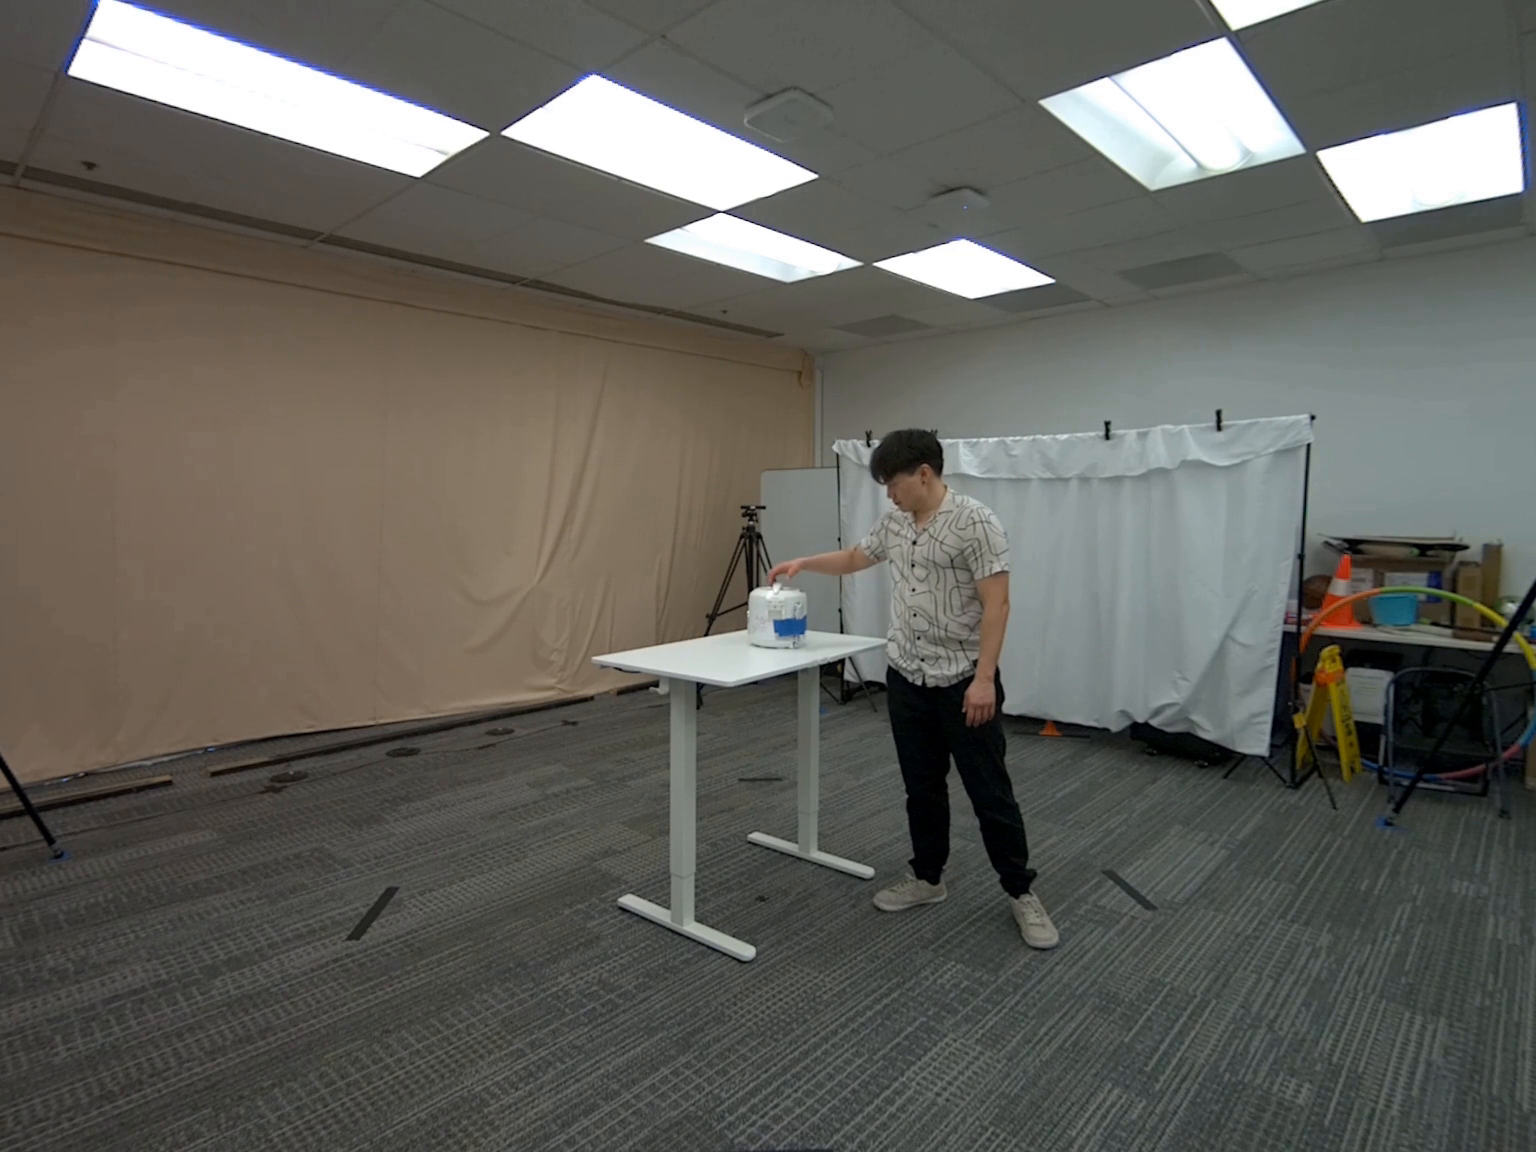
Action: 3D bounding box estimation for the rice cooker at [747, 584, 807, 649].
[{"bbox_3d":[0.036,0.138,3.074,0.220,0.232,0.219,1,3,8],"label":"rice cooker"}]
